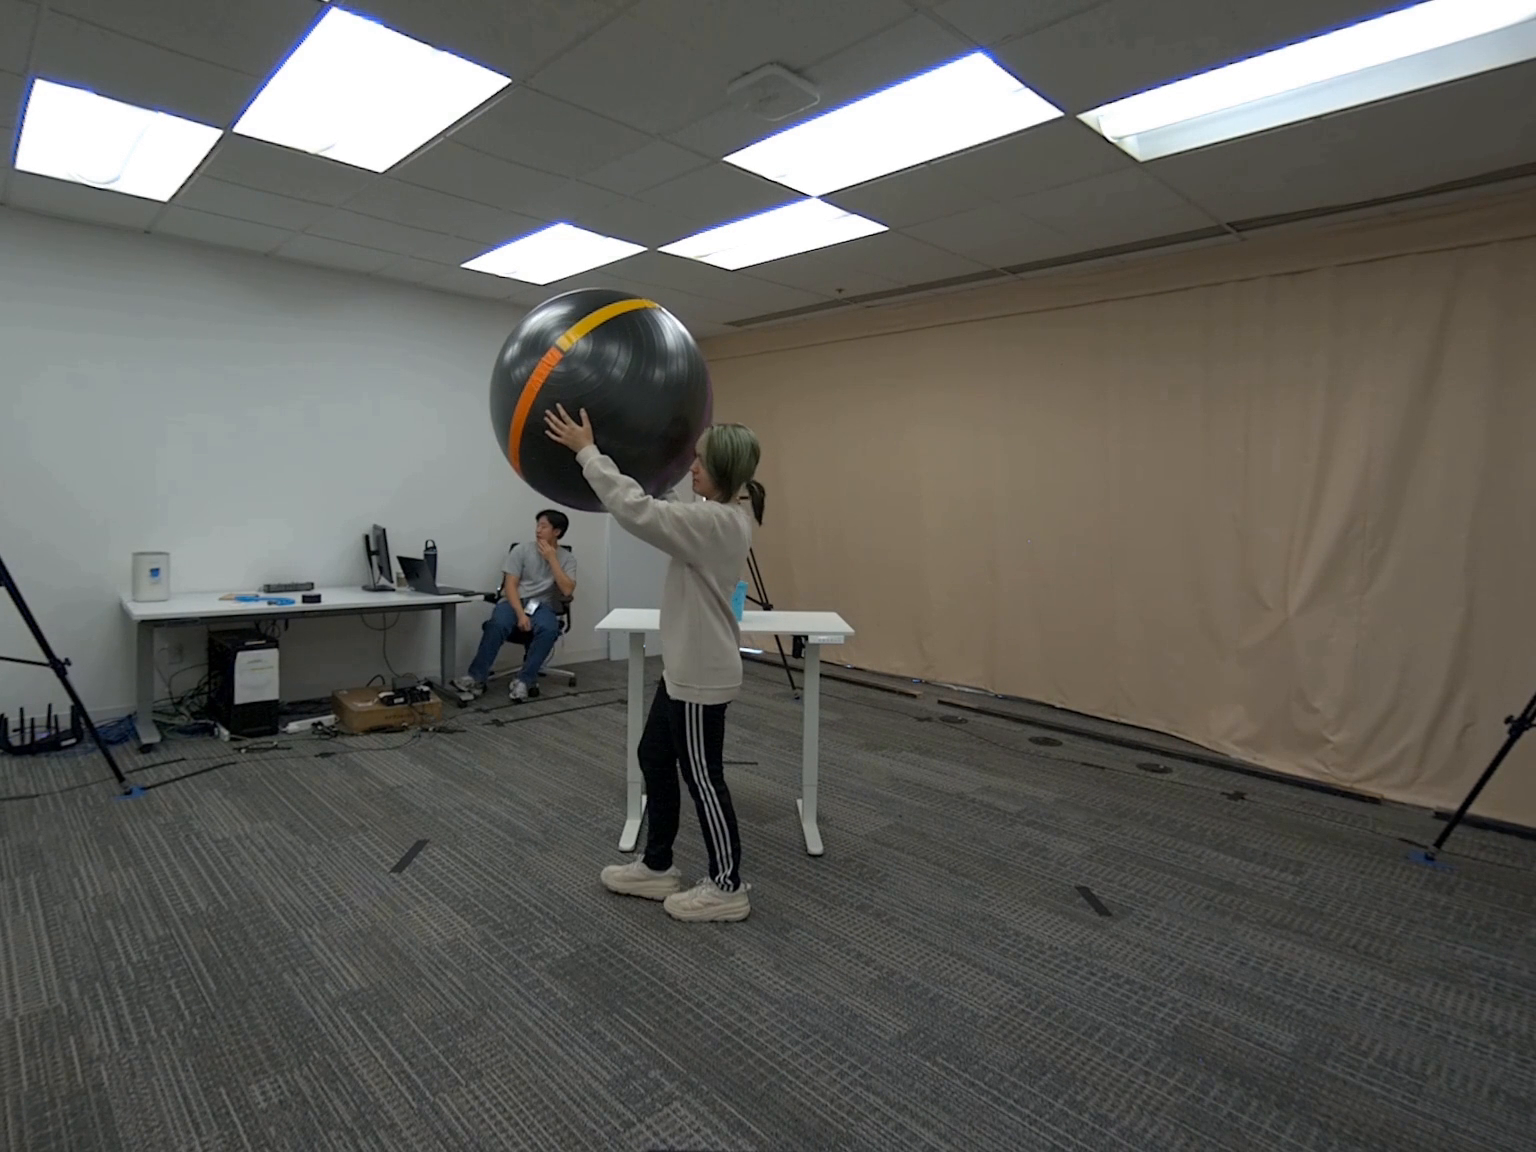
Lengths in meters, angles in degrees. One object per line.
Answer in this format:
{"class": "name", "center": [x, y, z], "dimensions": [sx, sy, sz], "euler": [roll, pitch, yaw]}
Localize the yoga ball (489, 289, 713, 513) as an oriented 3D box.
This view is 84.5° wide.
{"class": "yoga ball", "center": [-0.573, -0.590, 2.896], "dimensions": [0.757, 0.756, 0.761], "euler": [1, 4, -1]}
